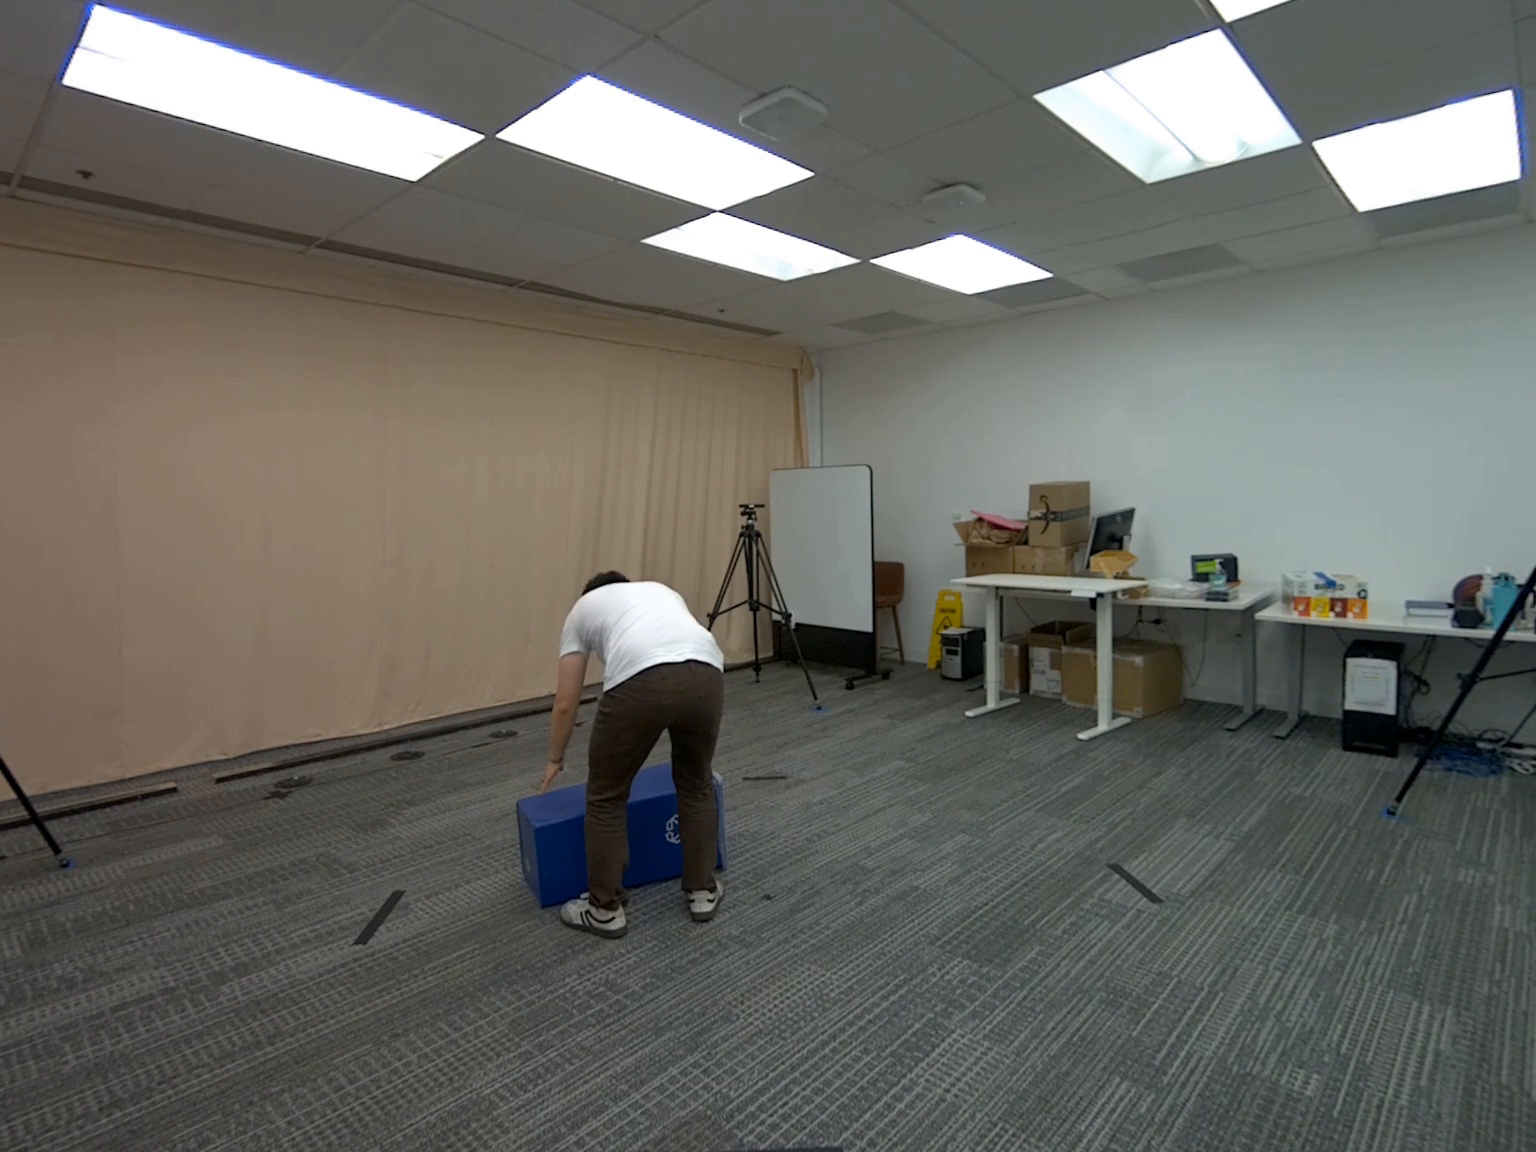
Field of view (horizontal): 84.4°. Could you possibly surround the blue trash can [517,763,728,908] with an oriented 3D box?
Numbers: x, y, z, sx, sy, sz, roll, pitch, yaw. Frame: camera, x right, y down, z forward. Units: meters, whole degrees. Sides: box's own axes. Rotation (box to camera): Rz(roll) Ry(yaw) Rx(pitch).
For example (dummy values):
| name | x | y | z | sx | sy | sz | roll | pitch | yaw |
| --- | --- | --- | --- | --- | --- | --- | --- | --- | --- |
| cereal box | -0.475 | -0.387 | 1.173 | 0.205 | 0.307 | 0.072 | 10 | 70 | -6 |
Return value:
| name | x | y | z | sx | sy | sz | roll | pitch | yaw |
| --- | --- | --- | --- | --- | --- | --- | --- | --- | --- |
| blue trash can | -0.556 | 0.967 | 3.200 | 0.697 | 0.376 | 0.384 | -7 | 7 | -26 |
